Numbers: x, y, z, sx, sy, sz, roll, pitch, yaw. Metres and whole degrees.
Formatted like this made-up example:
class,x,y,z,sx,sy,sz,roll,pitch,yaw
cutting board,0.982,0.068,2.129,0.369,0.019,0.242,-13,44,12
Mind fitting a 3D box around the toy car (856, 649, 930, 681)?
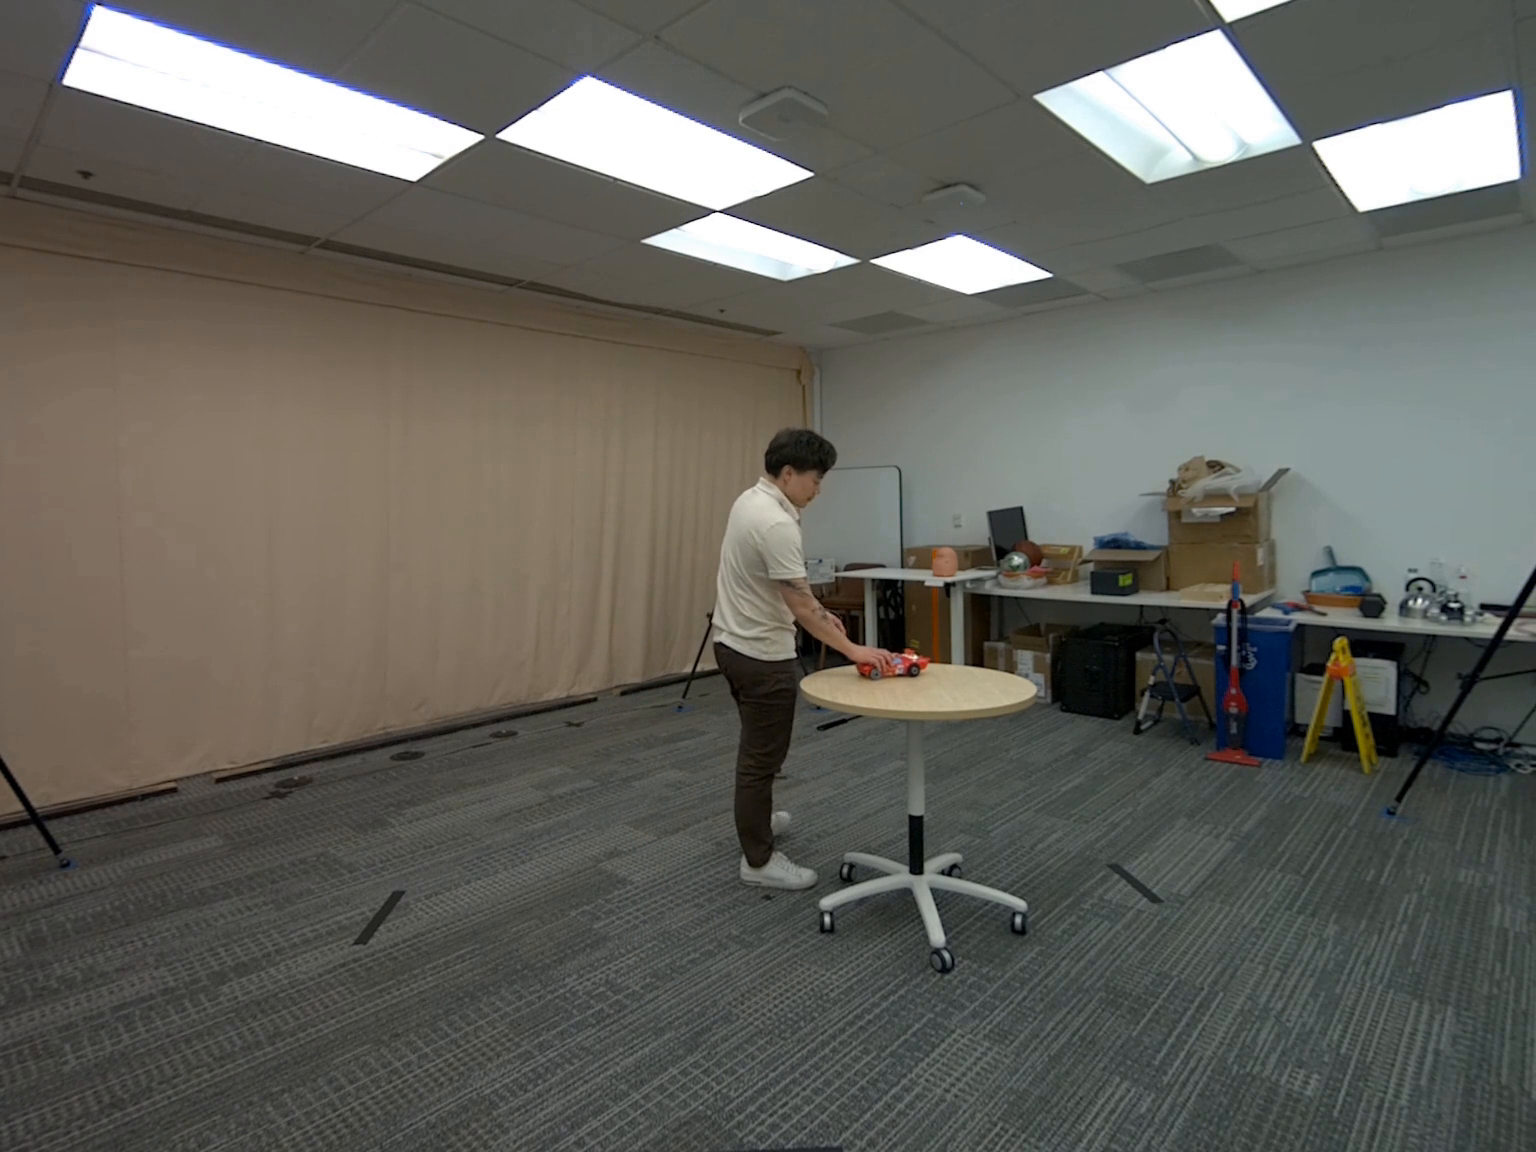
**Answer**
class,x,y,z,sx,sy,sz,roll,pitch,yaw
toy car,0.450,0.317,2.953,0.252,0.083,0.132,-15,8,-13
